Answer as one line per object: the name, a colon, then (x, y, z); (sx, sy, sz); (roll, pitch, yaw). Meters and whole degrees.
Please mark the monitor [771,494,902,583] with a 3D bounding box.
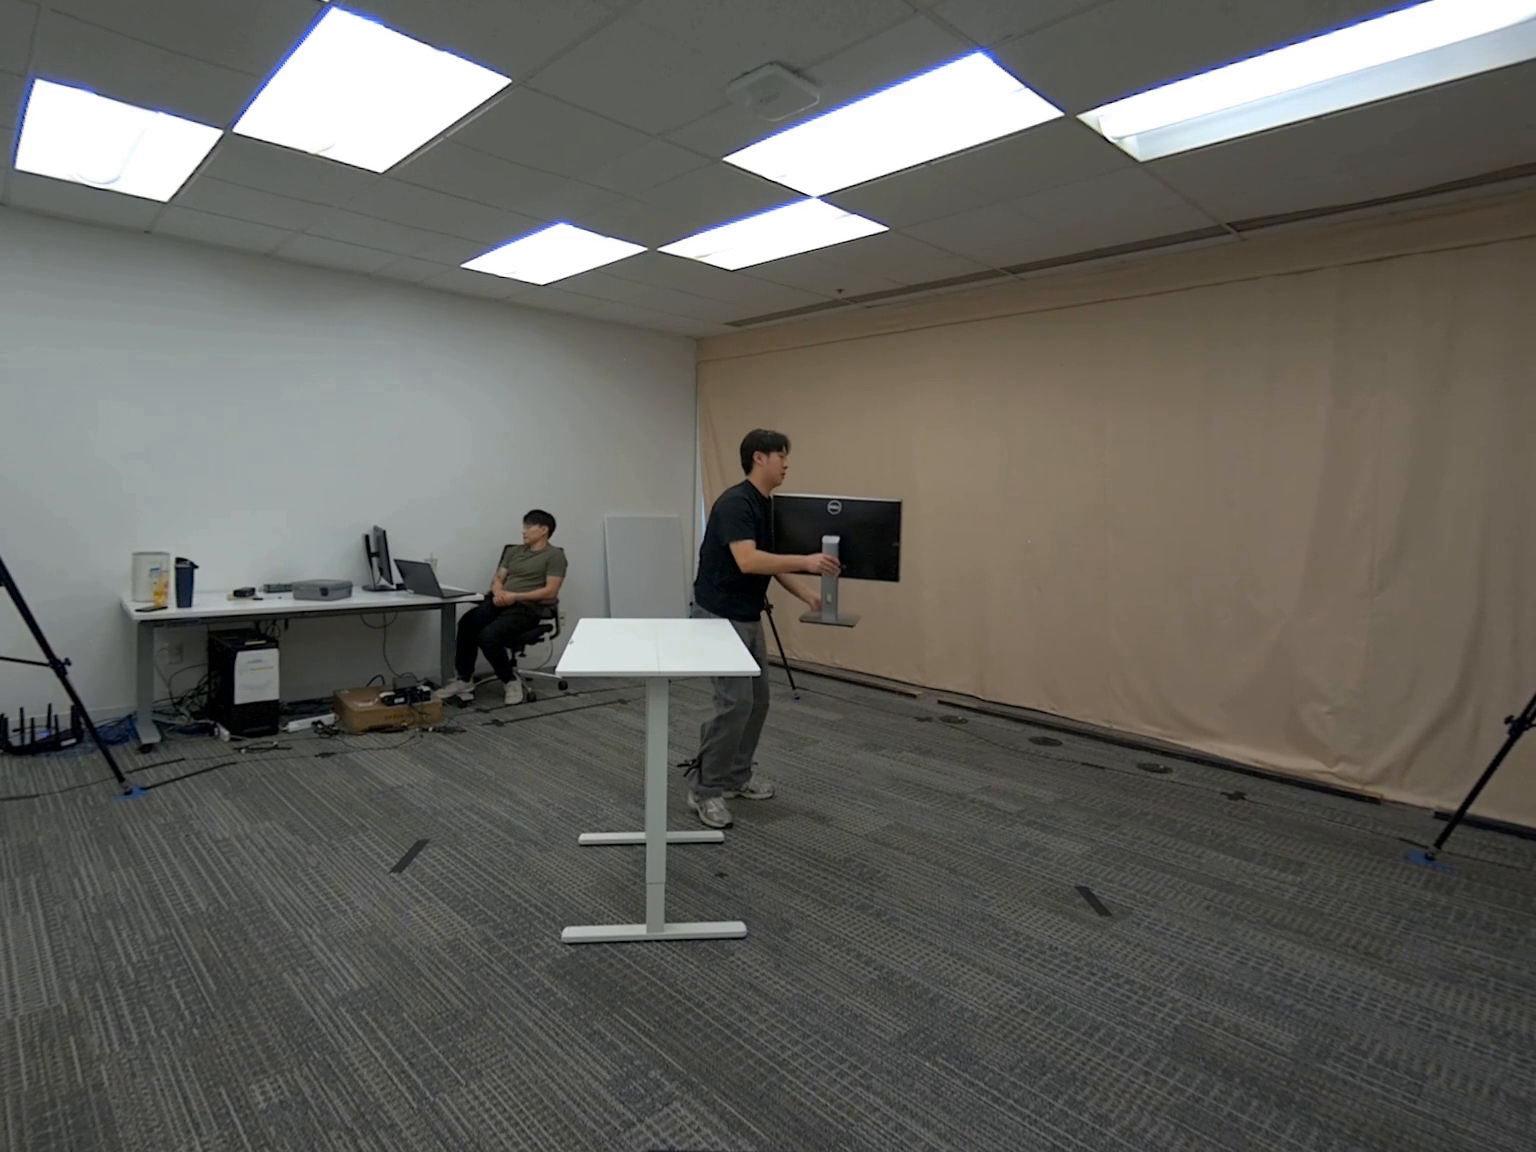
monitor: (0.268, -0.050, 3.609); (0.571, 0.564, 0.219); (6, 5, 20)
